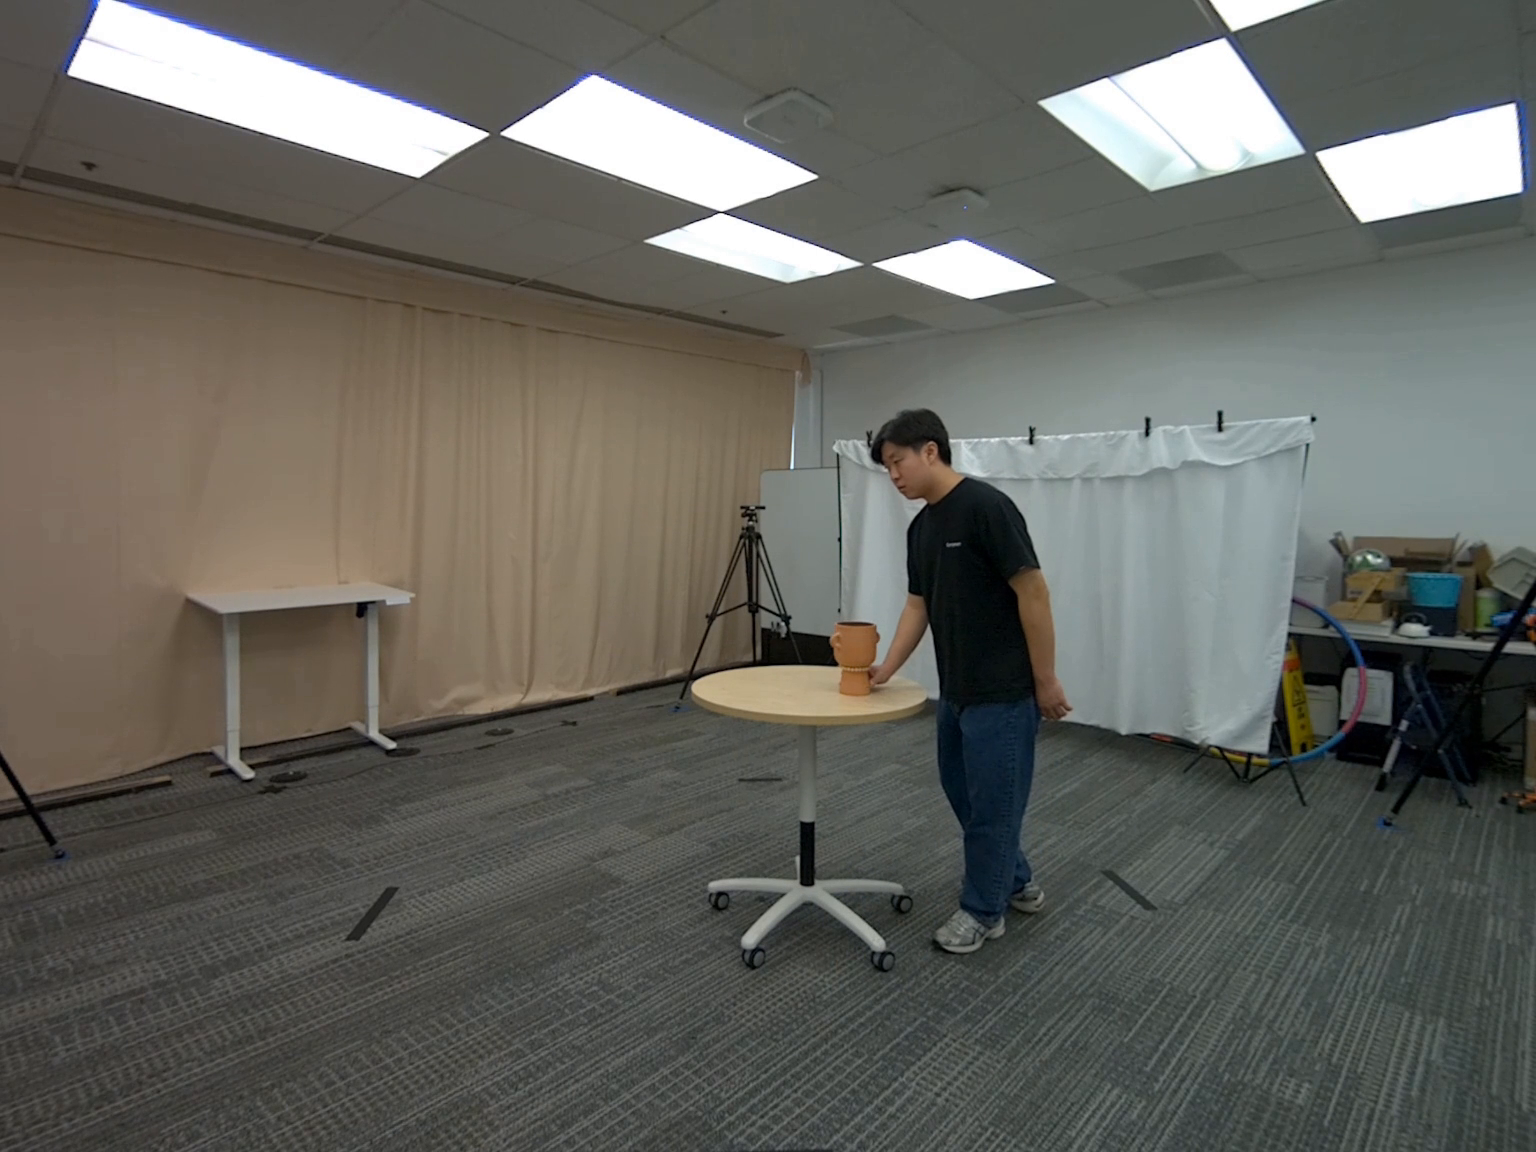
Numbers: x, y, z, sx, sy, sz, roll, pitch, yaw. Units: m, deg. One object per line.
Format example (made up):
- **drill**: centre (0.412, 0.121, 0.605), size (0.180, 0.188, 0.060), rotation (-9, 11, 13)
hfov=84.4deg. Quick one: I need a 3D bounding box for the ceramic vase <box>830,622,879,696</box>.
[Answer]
- **ceramic vase**: centre (0.292, 0.266, 2.680), size (0.160, 0.219, 0.133), rotation (0, 2, 9)
